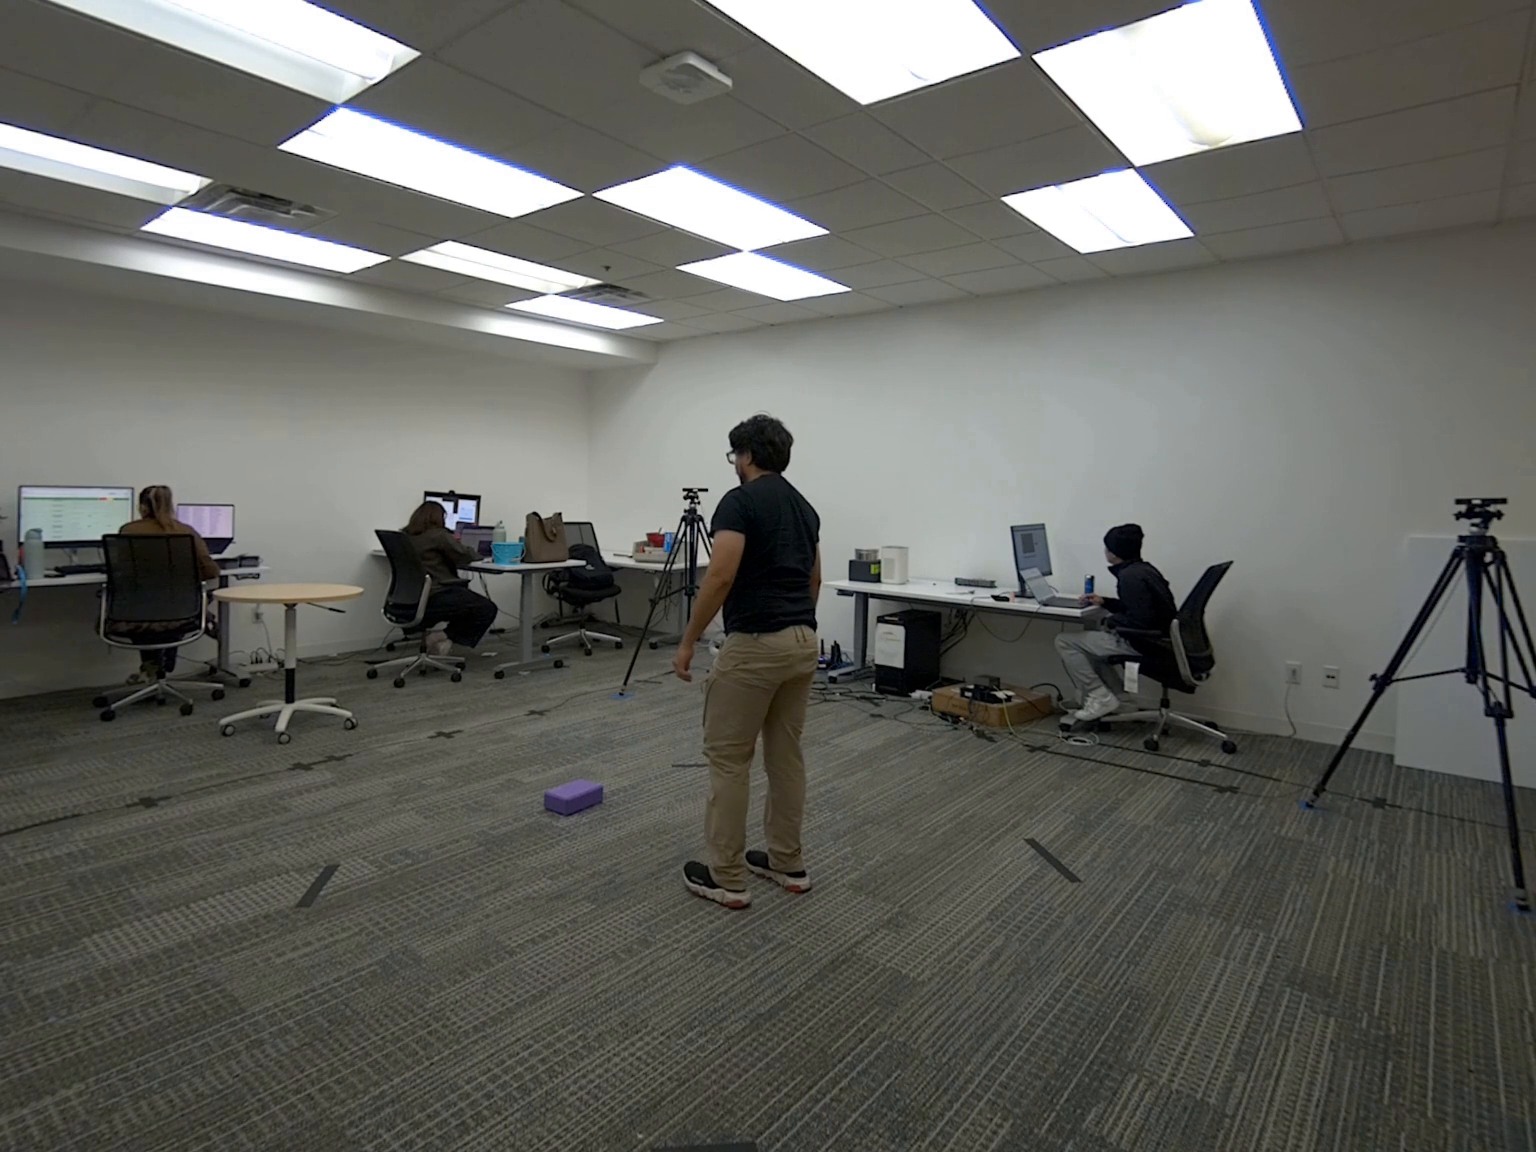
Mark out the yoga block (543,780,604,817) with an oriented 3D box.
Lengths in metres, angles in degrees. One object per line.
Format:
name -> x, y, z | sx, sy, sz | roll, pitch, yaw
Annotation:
yoga block -> -0.864, 0.963, 3.719 | 0.154, 0.076, 0.223 | 4, 6, 34
